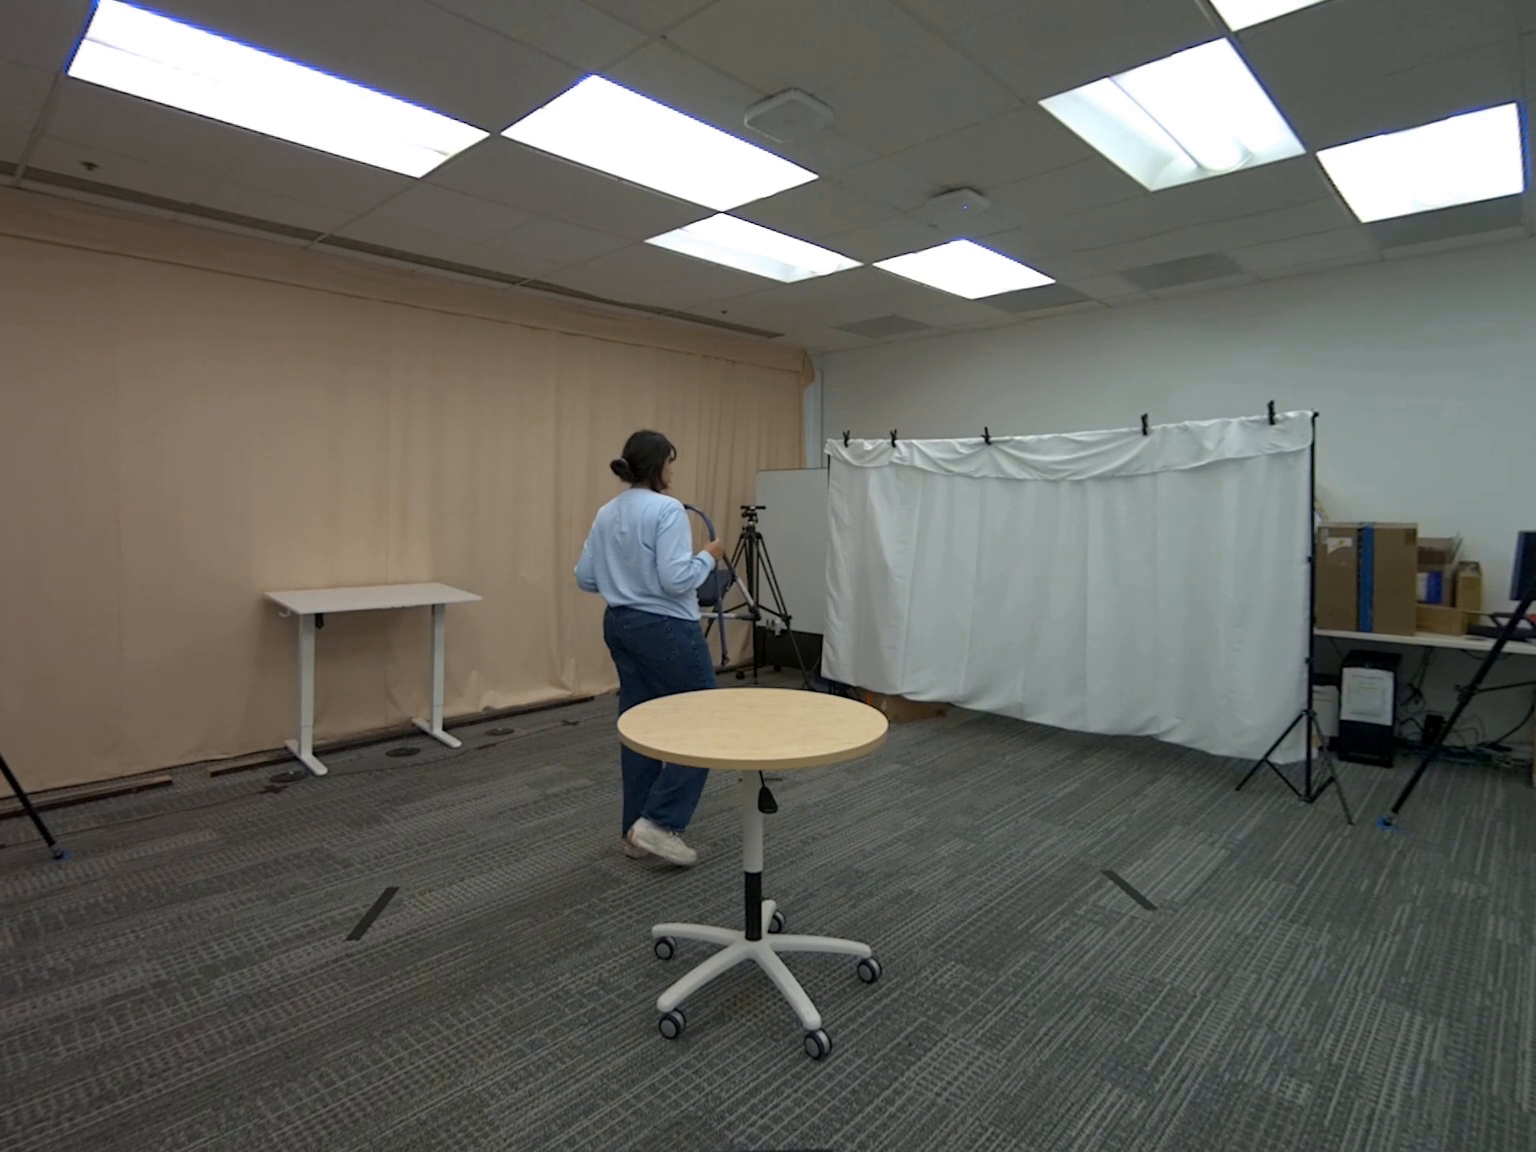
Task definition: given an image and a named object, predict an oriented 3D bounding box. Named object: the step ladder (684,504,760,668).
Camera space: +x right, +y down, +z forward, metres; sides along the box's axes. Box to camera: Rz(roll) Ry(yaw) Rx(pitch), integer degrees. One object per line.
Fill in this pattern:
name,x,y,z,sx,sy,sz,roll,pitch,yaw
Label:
step ladder,-0.351,0.009,3.524,0.443,0.594,0.346,0,28,32
